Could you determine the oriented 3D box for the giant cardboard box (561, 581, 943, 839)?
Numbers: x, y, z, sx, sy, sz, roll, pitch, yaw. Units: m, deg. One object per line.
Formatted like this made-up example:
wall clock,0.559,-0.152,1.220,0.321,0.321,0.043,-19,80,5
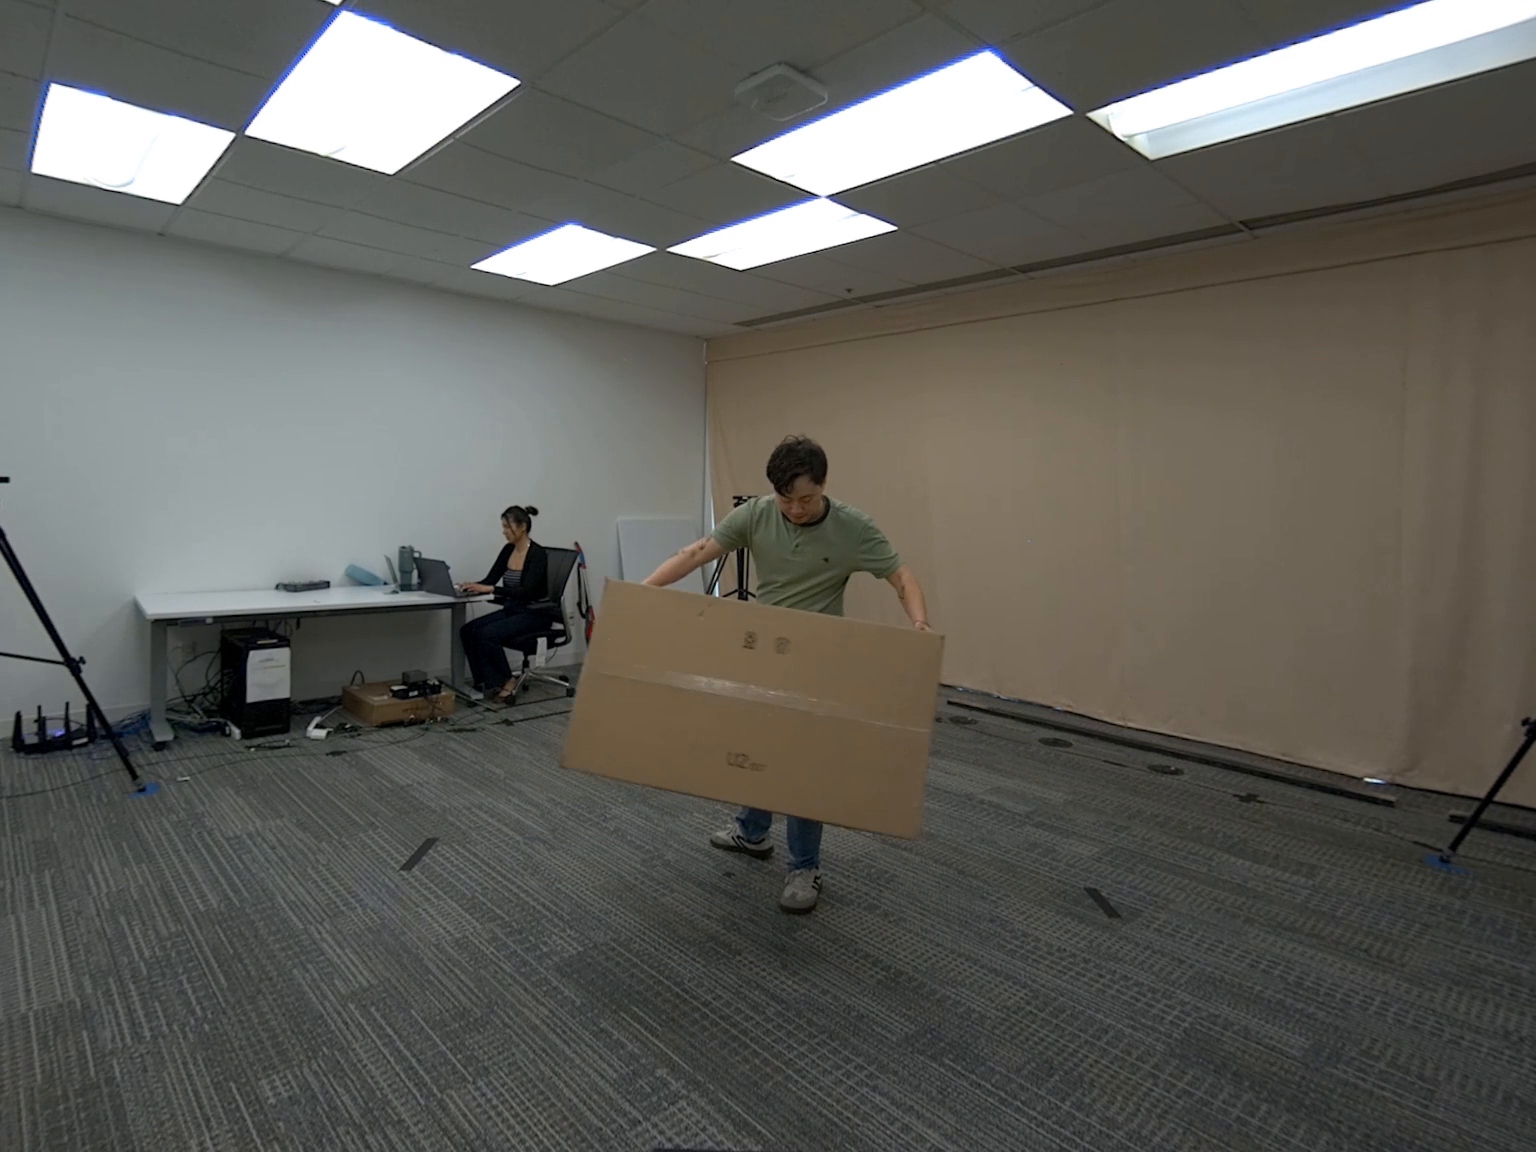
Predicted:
giant cardboard box,-0.033,0.408,2.619,1.035,0.583,0.419,9,-16,9
